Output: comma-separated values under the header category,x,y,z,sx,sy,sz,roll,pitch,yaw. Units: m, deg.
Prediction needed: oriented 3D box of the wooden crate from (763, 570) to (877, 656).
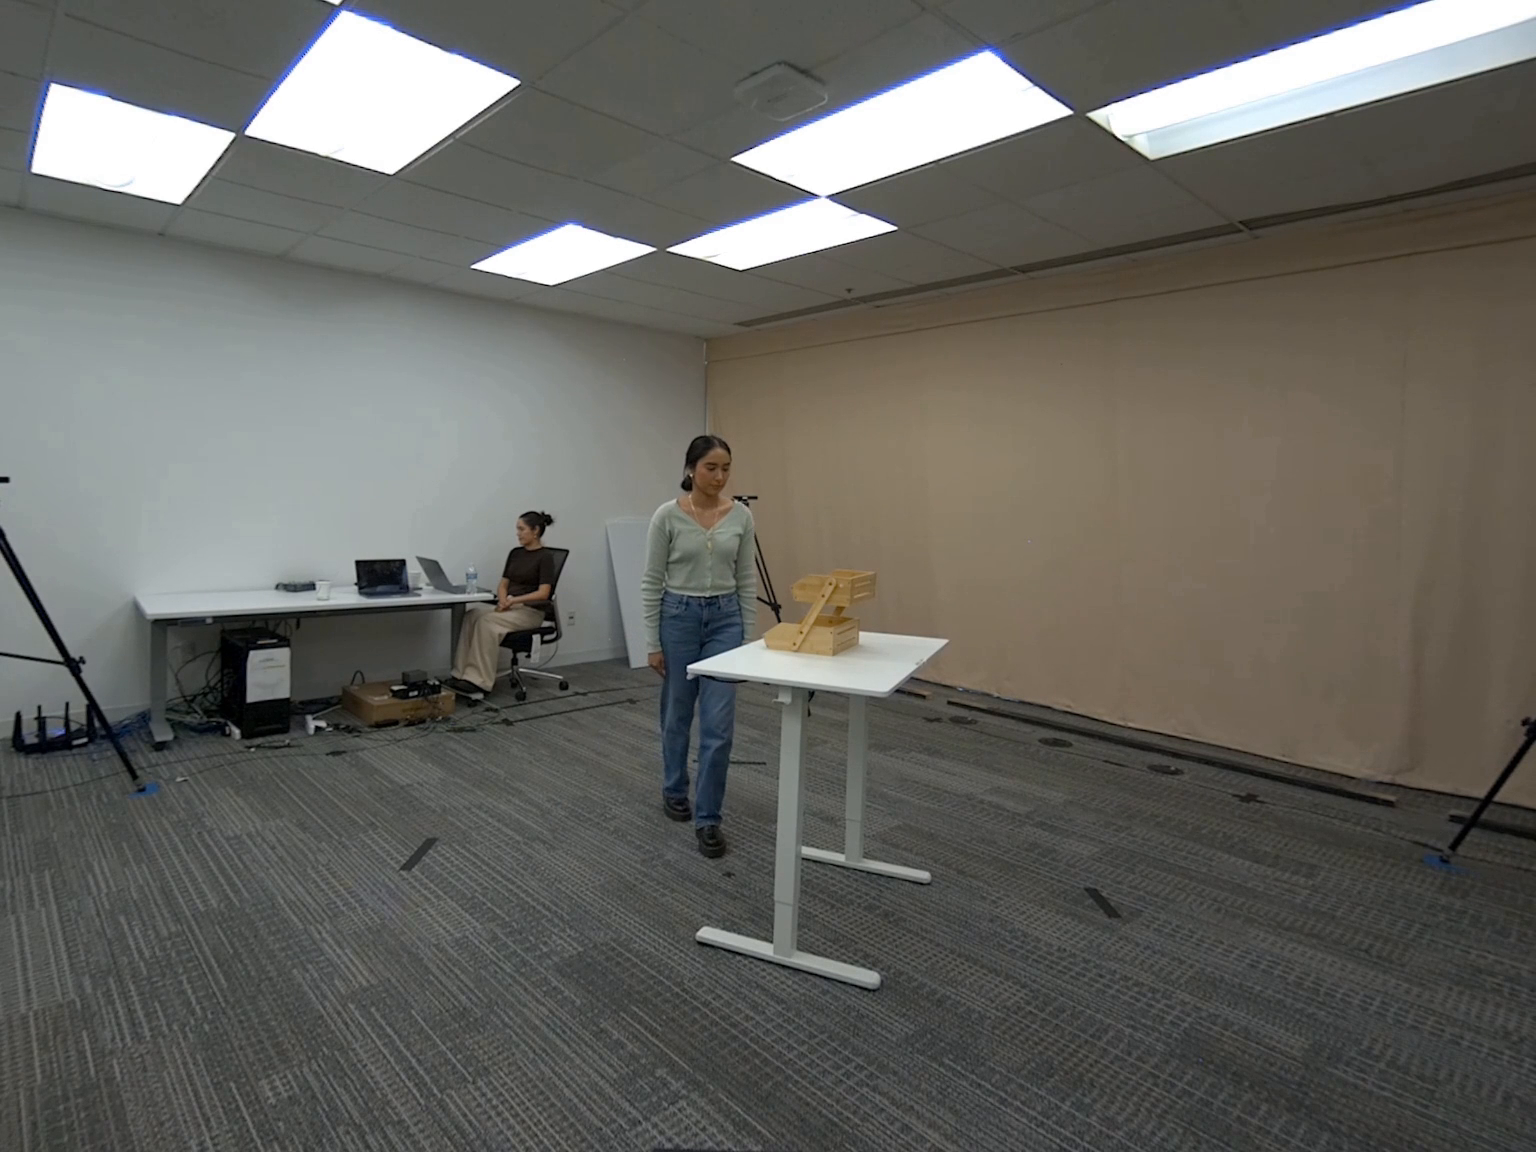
category,x,y,z,sx,sy,sz,roll,pitch,yaw
wooden crate,0.171,0.114,2.904,0.308,0.272,0.319,5,5,23
